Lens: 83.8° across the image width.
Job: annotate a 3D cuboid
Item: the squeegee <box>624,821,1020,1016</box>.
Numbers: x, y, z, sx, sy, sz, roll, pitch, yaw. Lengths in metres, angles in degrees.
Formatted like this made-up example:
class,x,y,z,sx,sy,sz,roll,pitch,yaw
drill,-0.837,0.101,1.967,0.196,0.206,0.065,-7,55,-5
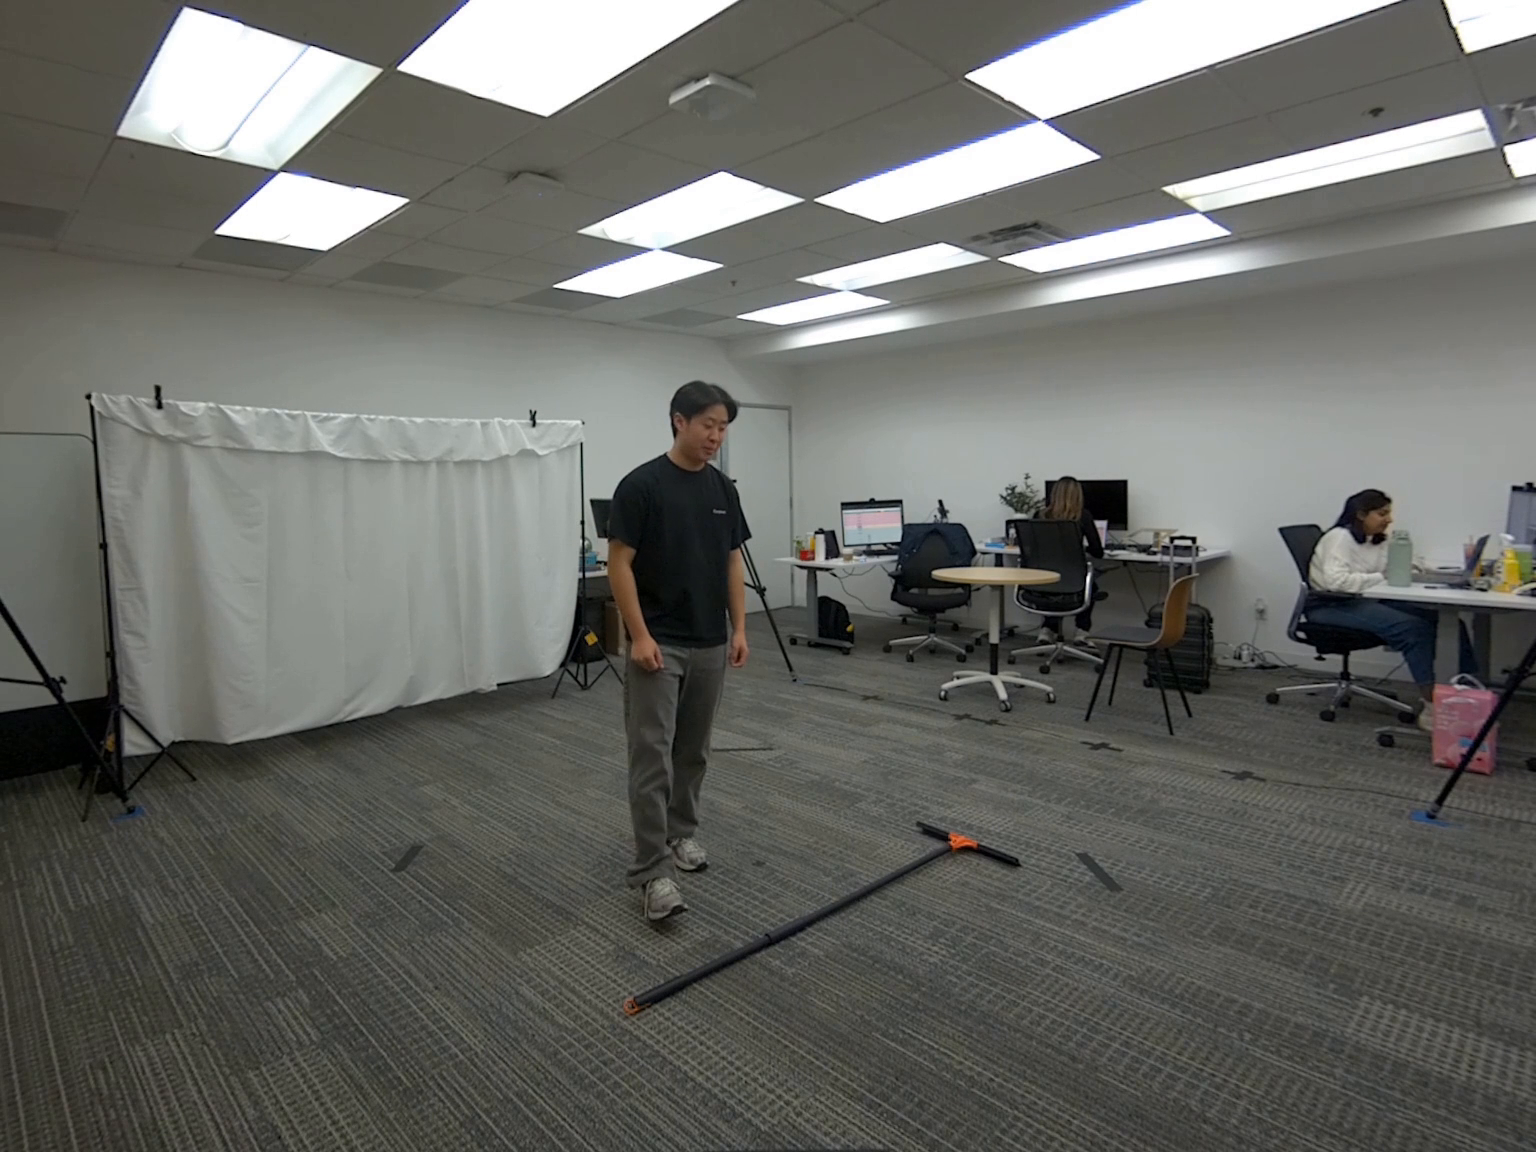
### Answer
class,x,y,z,sx,sy,sz,roll,pitch,yaw
squeegee,0.185,1.050,2.738,1.499,0.052,0.451,-8,10,-39
